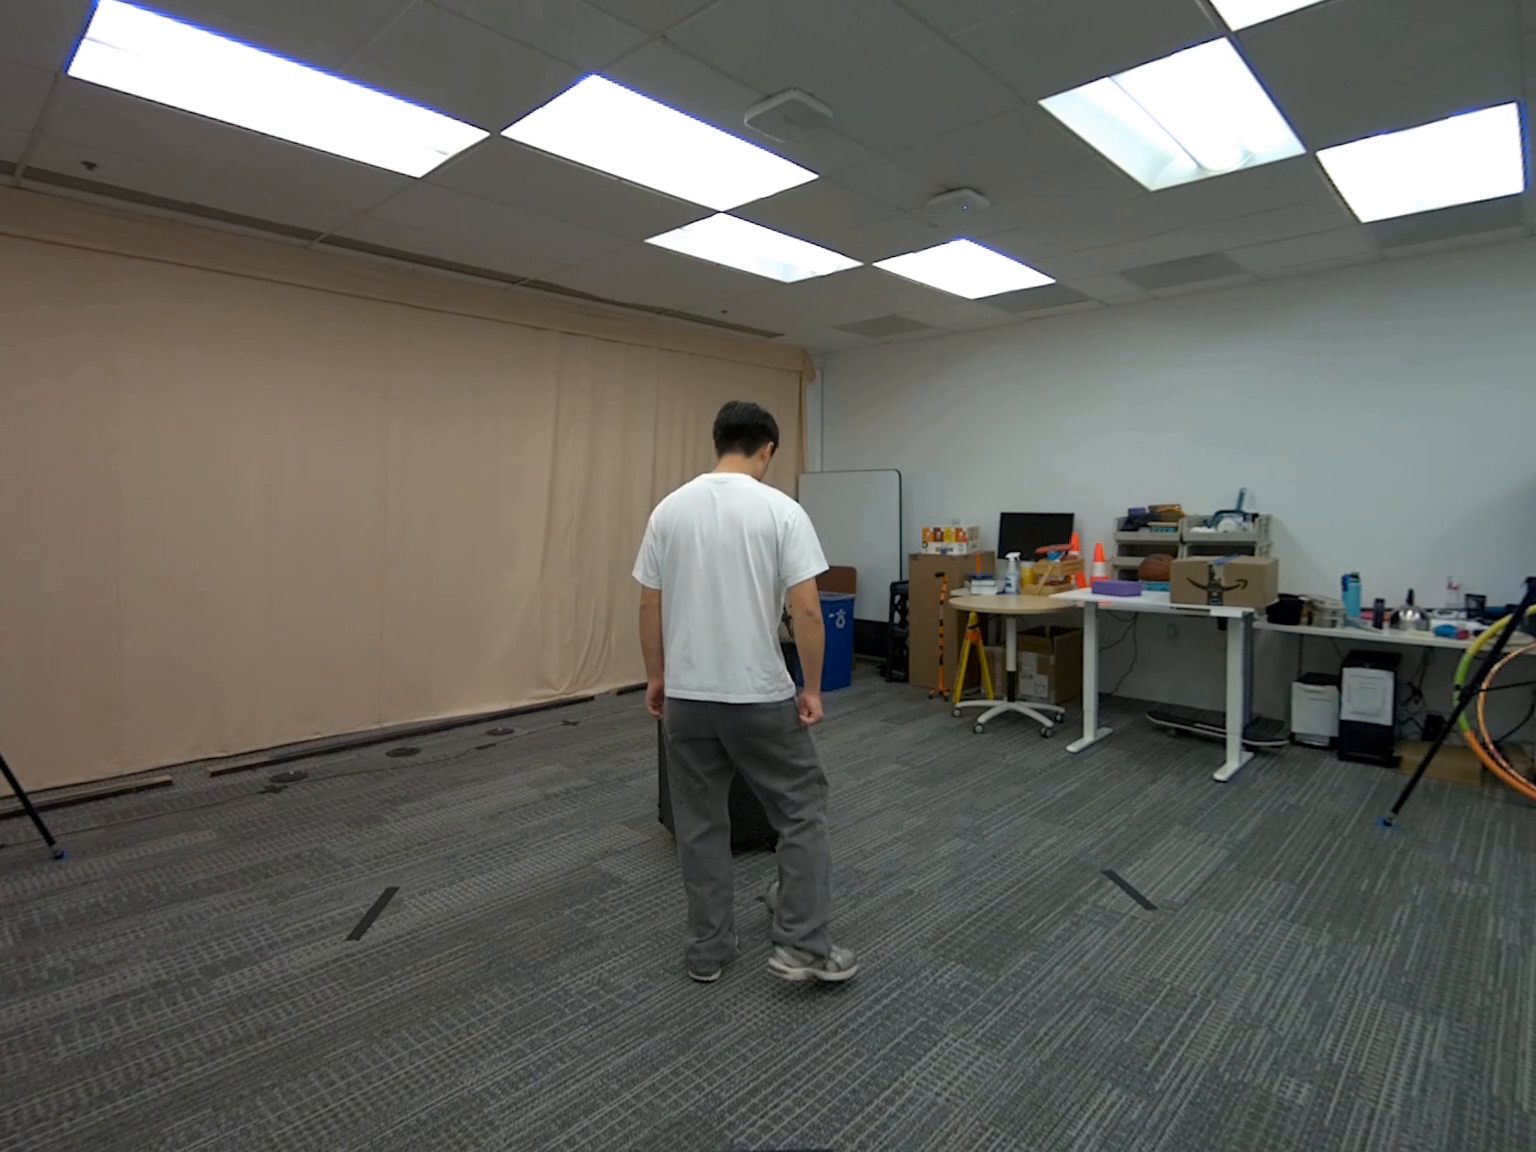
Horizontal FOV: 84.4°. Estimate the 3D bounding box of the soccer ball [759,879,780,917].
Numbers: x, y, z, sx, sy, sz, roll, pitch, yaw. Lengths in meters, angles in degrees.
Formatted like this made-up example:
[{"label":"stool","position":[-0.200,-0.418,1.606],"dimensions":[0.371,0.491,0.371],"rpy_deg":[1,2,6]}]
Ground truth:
[{"label":"soccer ball","position":[0.081,1.059,2.769],"dimensions":[0.187,0.187,0.188],"rpy_deg":[0,4,-2]}]
